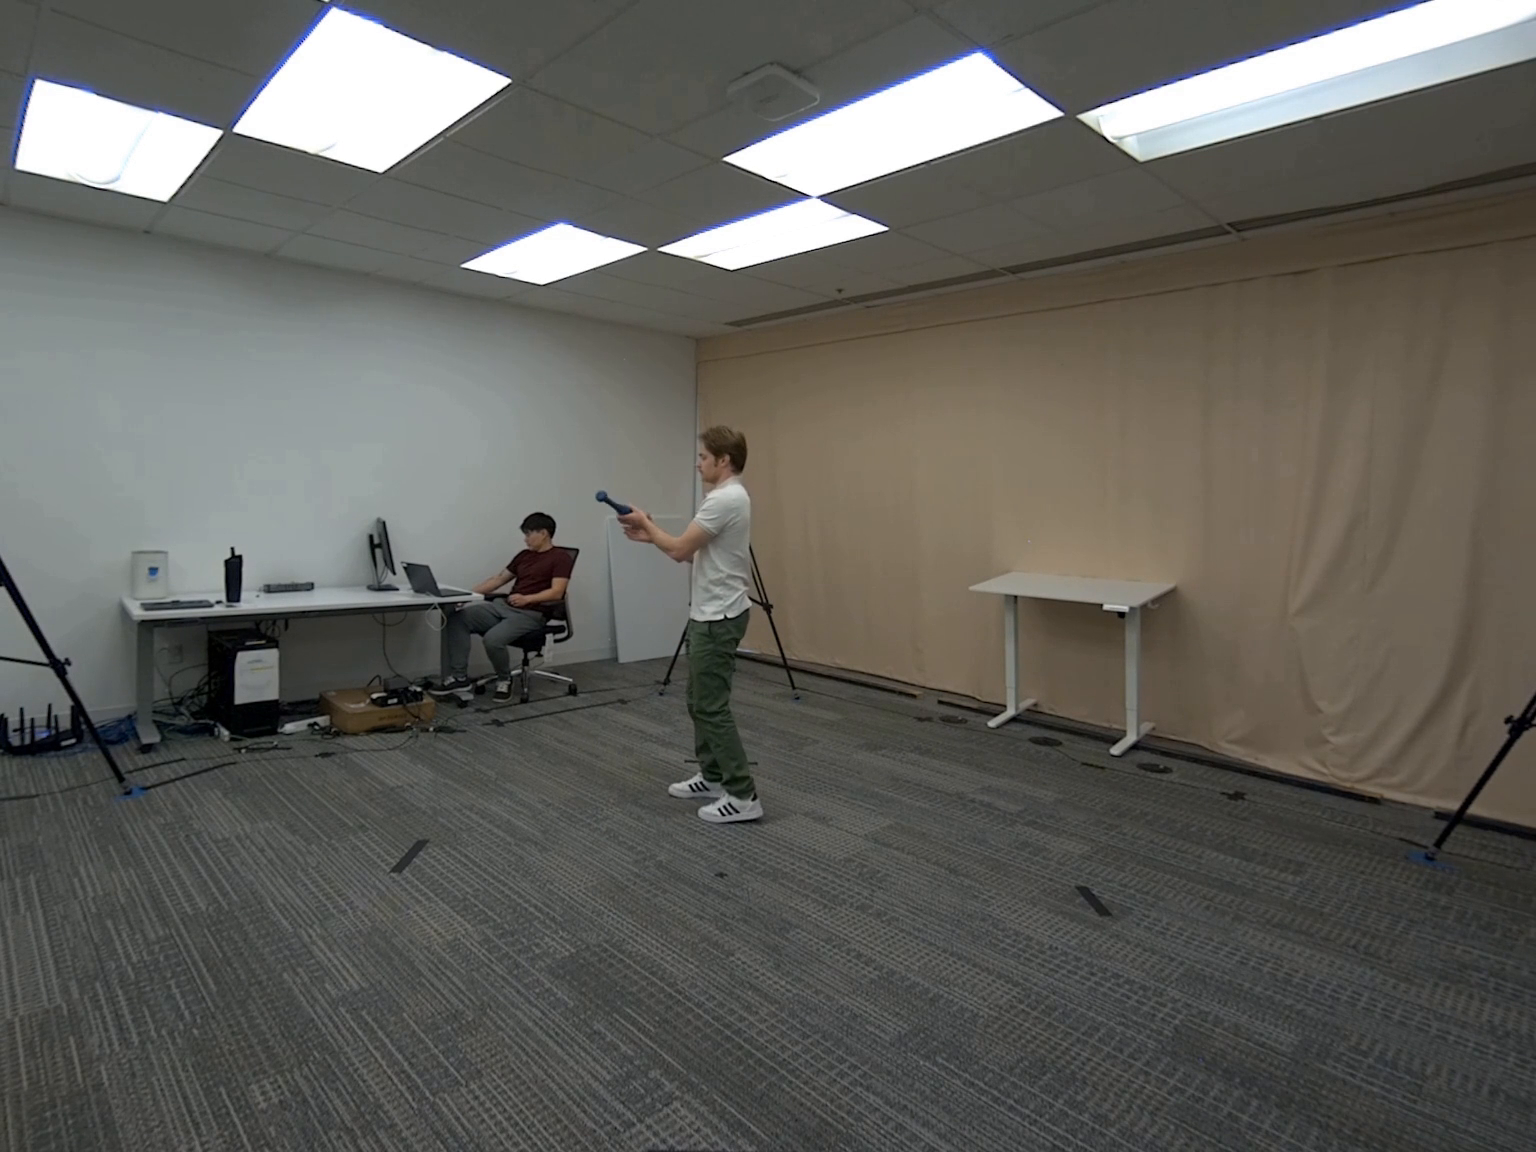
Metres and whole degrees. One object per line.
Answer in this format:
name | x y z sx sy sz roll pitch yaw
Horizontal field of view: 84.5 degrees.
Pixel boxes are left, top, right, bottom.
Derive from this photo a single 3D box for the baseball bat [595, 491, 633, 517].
baseball bat | -0.647 -0.291 3.787 0.090 0.089 0.532 3 -10 14
